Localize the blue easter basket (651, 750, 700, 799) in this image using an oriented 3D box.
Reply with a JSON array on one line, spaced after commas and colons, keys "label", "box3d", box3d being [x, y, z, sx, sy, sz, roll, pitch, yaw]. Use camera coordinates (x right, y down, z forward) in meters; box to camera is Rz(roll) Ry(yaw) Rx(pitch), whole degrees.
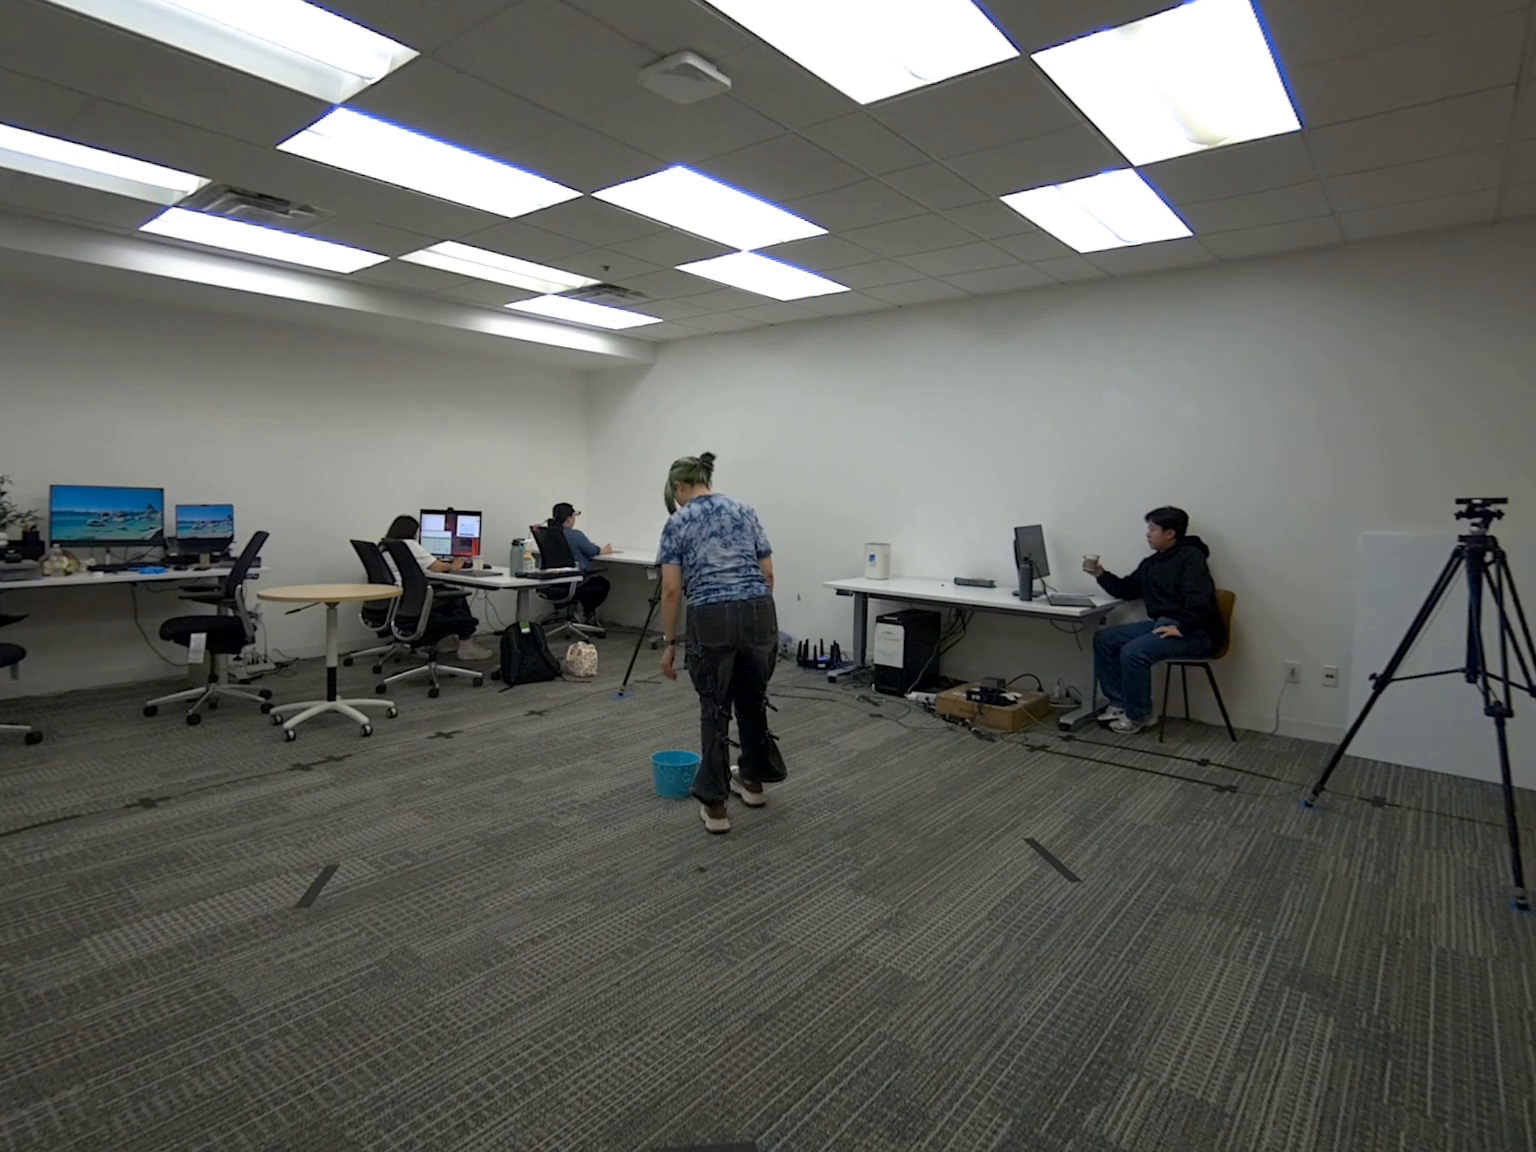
[{"label": "blue easter basket", "box3d": [-0.435, 0.909, 3.920, 0.243, 0.155, 0.245, 0, 5, -2]}]
